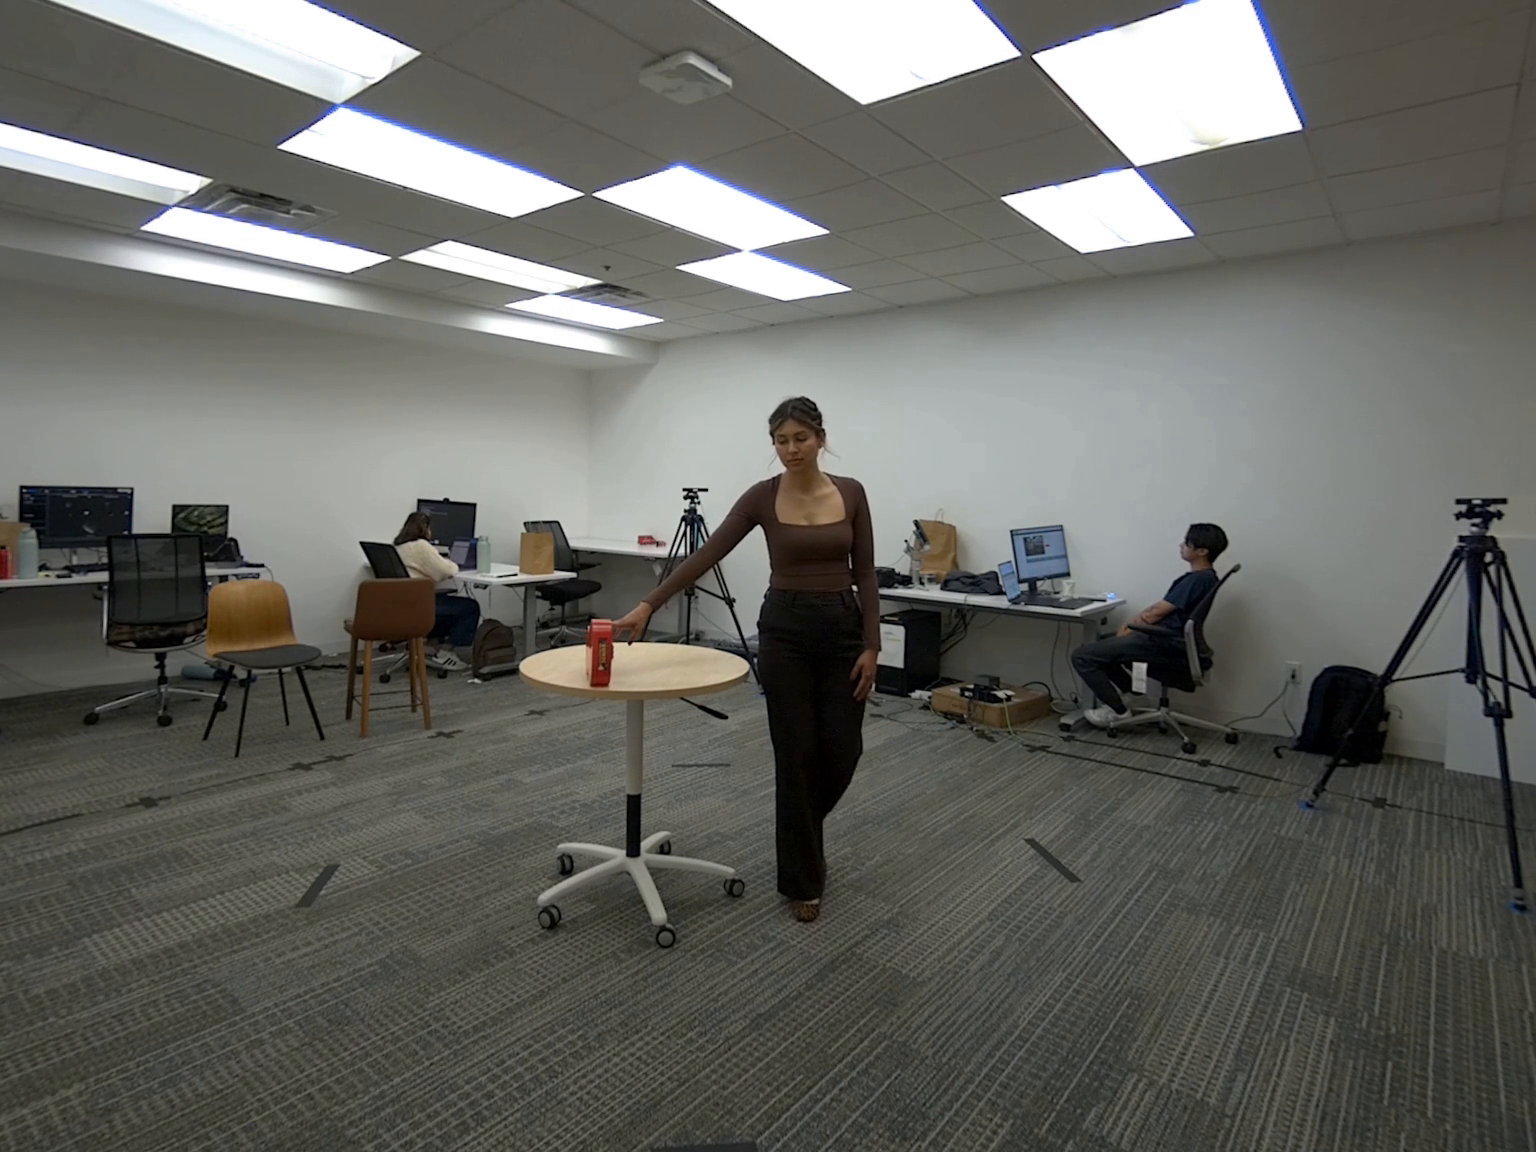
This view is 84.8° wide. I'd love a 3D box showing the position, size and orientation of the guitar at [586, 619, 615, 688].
[{"bbox_3d":[-0.553,0.261,2.739,0.070,0.195,0.498,1,-12,-14],"label":"guitar"}]
